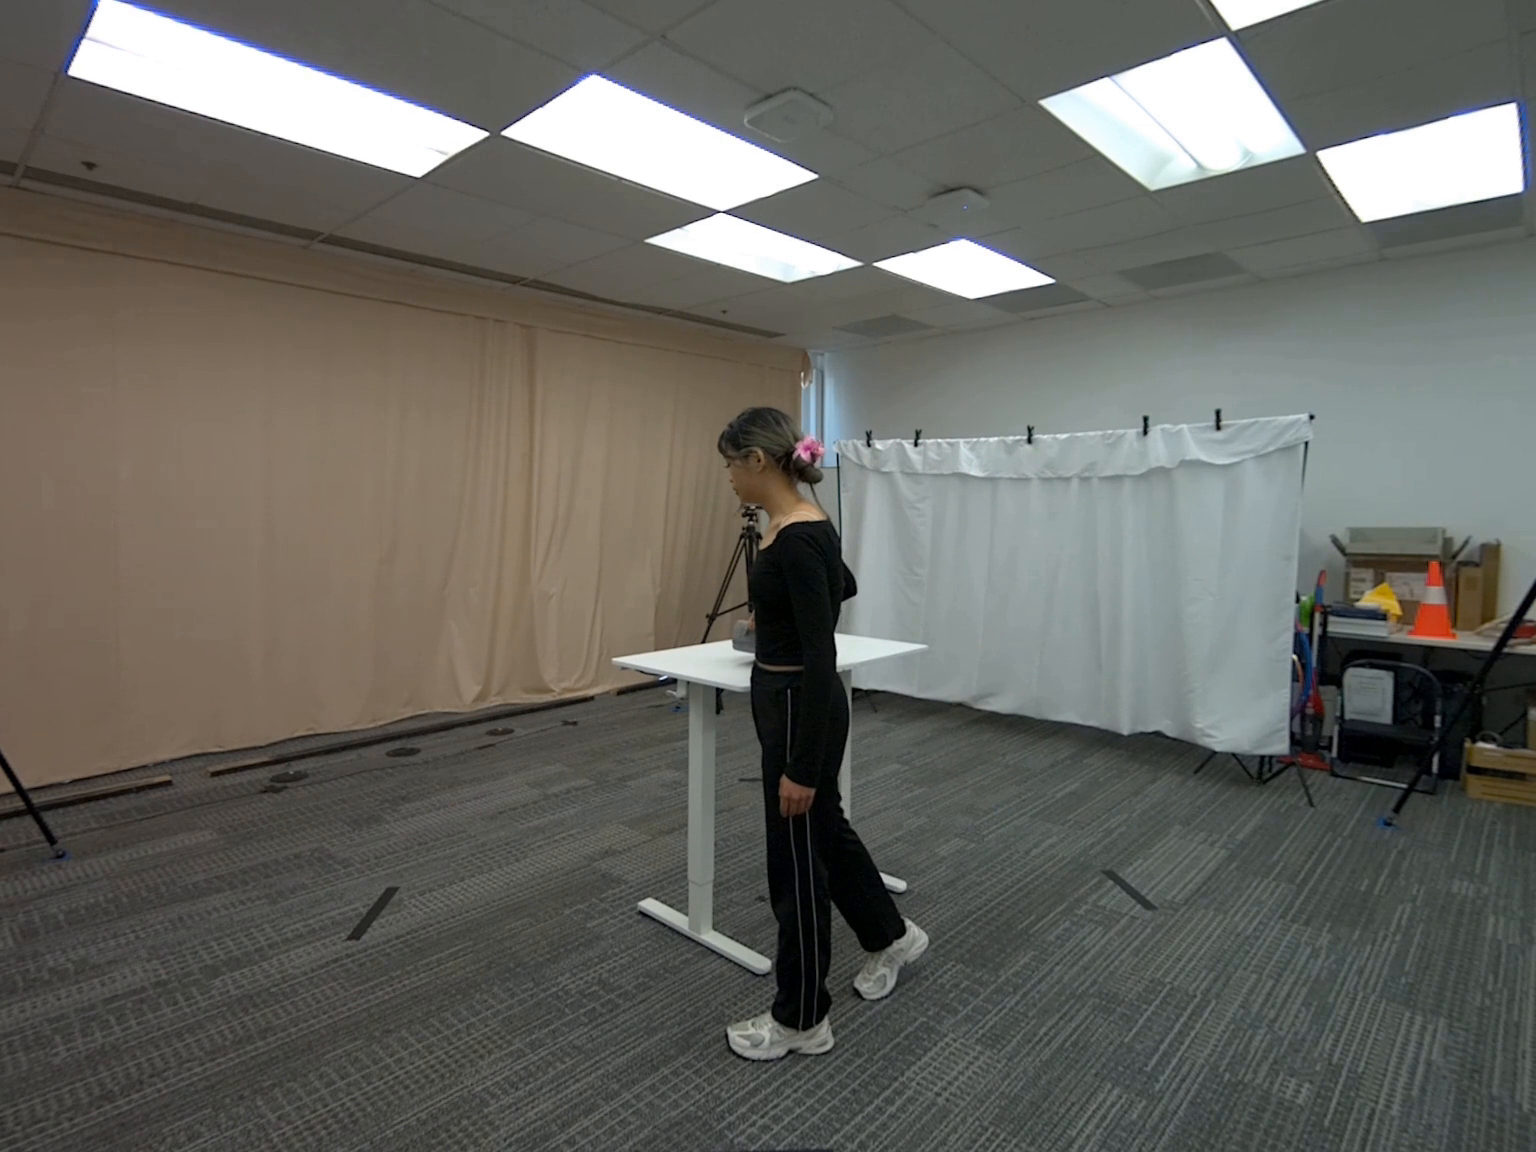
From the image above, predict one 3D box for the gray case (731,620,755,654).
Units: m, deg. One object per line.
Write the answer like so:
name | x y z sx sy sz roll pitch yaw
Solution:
gray case | 0.057 0.211 2.711 0.265 0.104 0.252 5 -5 36
